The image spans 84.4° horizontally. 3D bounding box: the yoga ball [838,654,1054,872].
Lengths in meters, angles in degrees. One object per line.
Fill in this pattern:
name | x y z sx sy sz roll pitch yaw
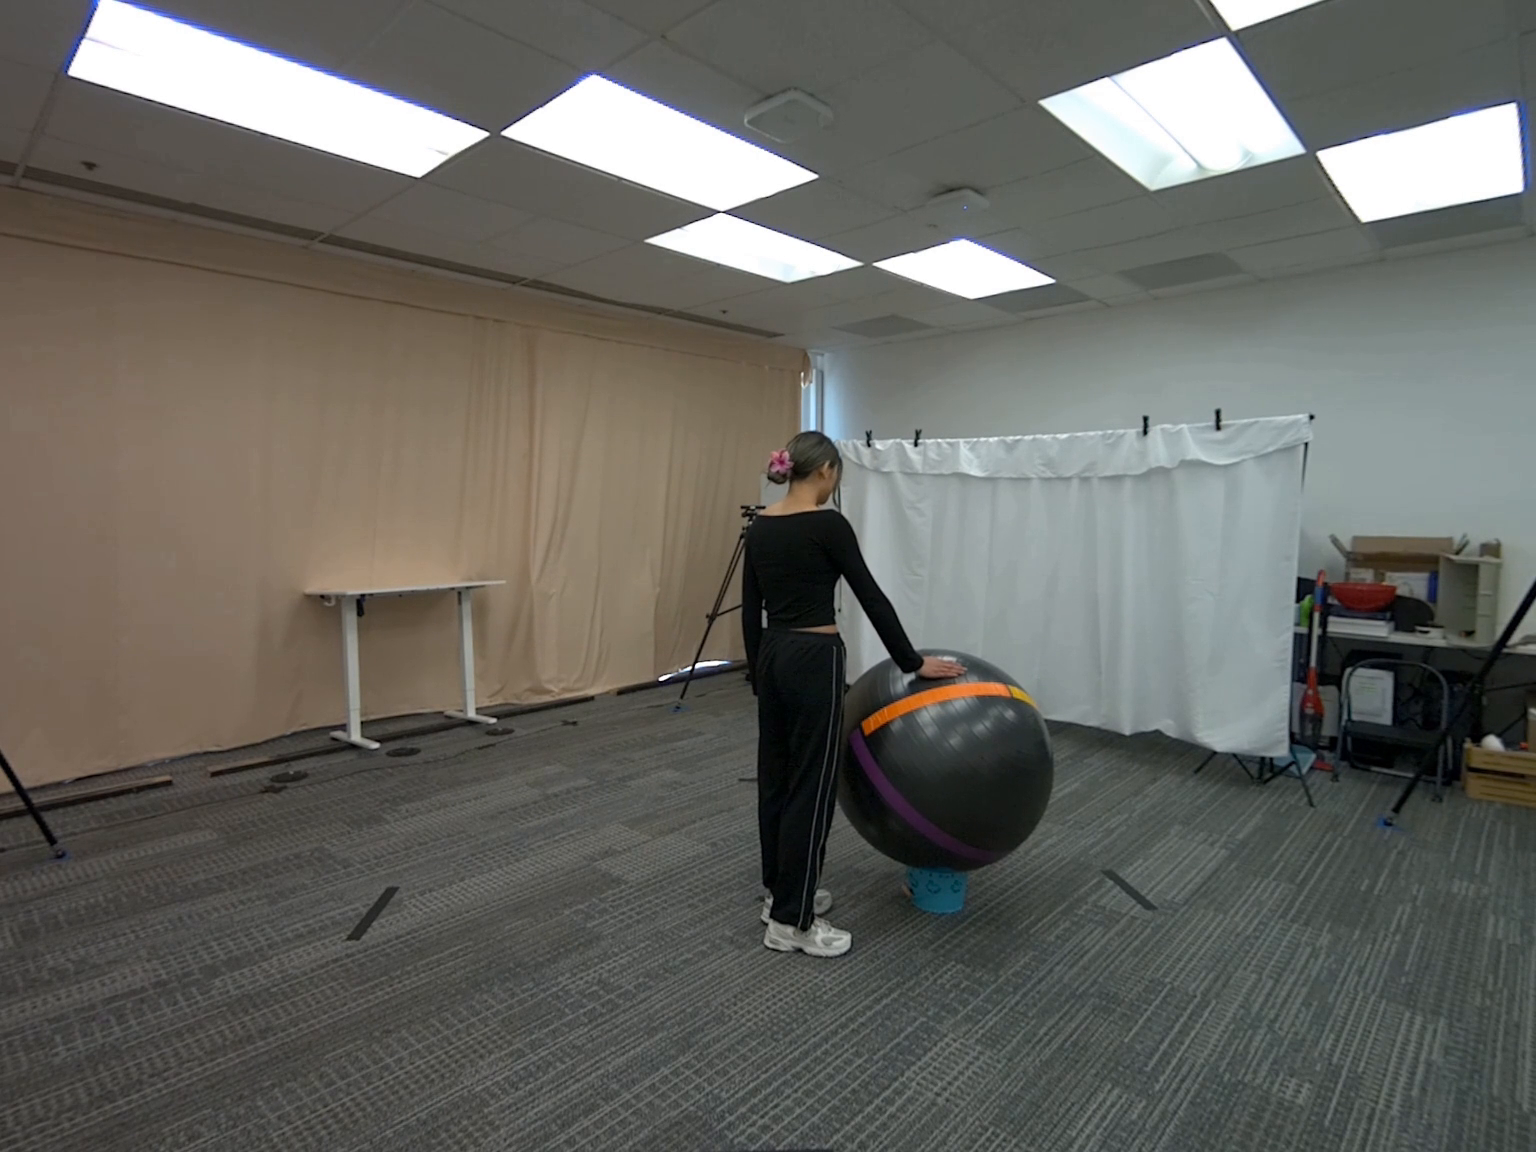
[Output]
yoga ball | 0.603 0.636 2.943 0.757 0.756 0.760 0 4 -2
